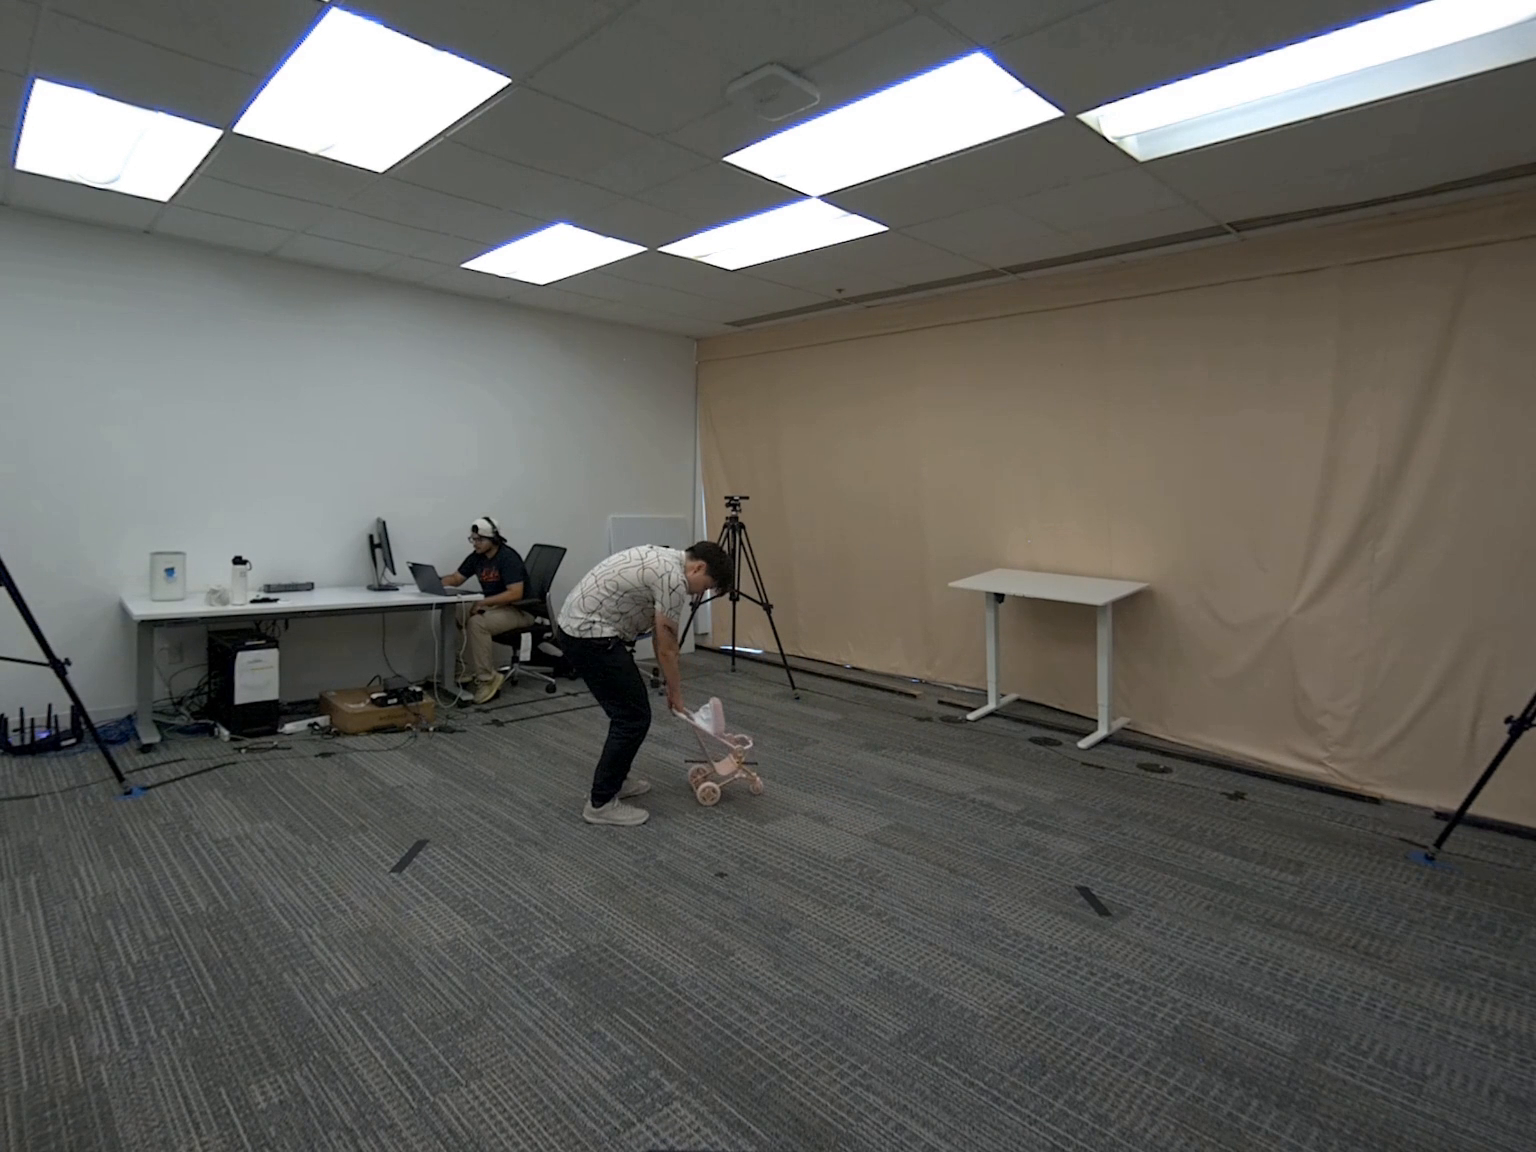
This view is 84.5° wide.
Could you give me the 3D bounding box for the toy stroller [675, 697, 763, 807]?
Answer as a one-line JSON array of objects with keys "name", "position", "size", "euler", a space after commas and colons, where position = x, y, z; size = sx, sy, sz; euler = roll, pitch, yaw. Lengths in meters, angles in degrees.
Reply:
[{"name": "toy stroller", "position": [-0.243, 0.806, 3.924], "size": [0.339, 0.532, 0.284], "euler": [-15, 7, -9]}]
